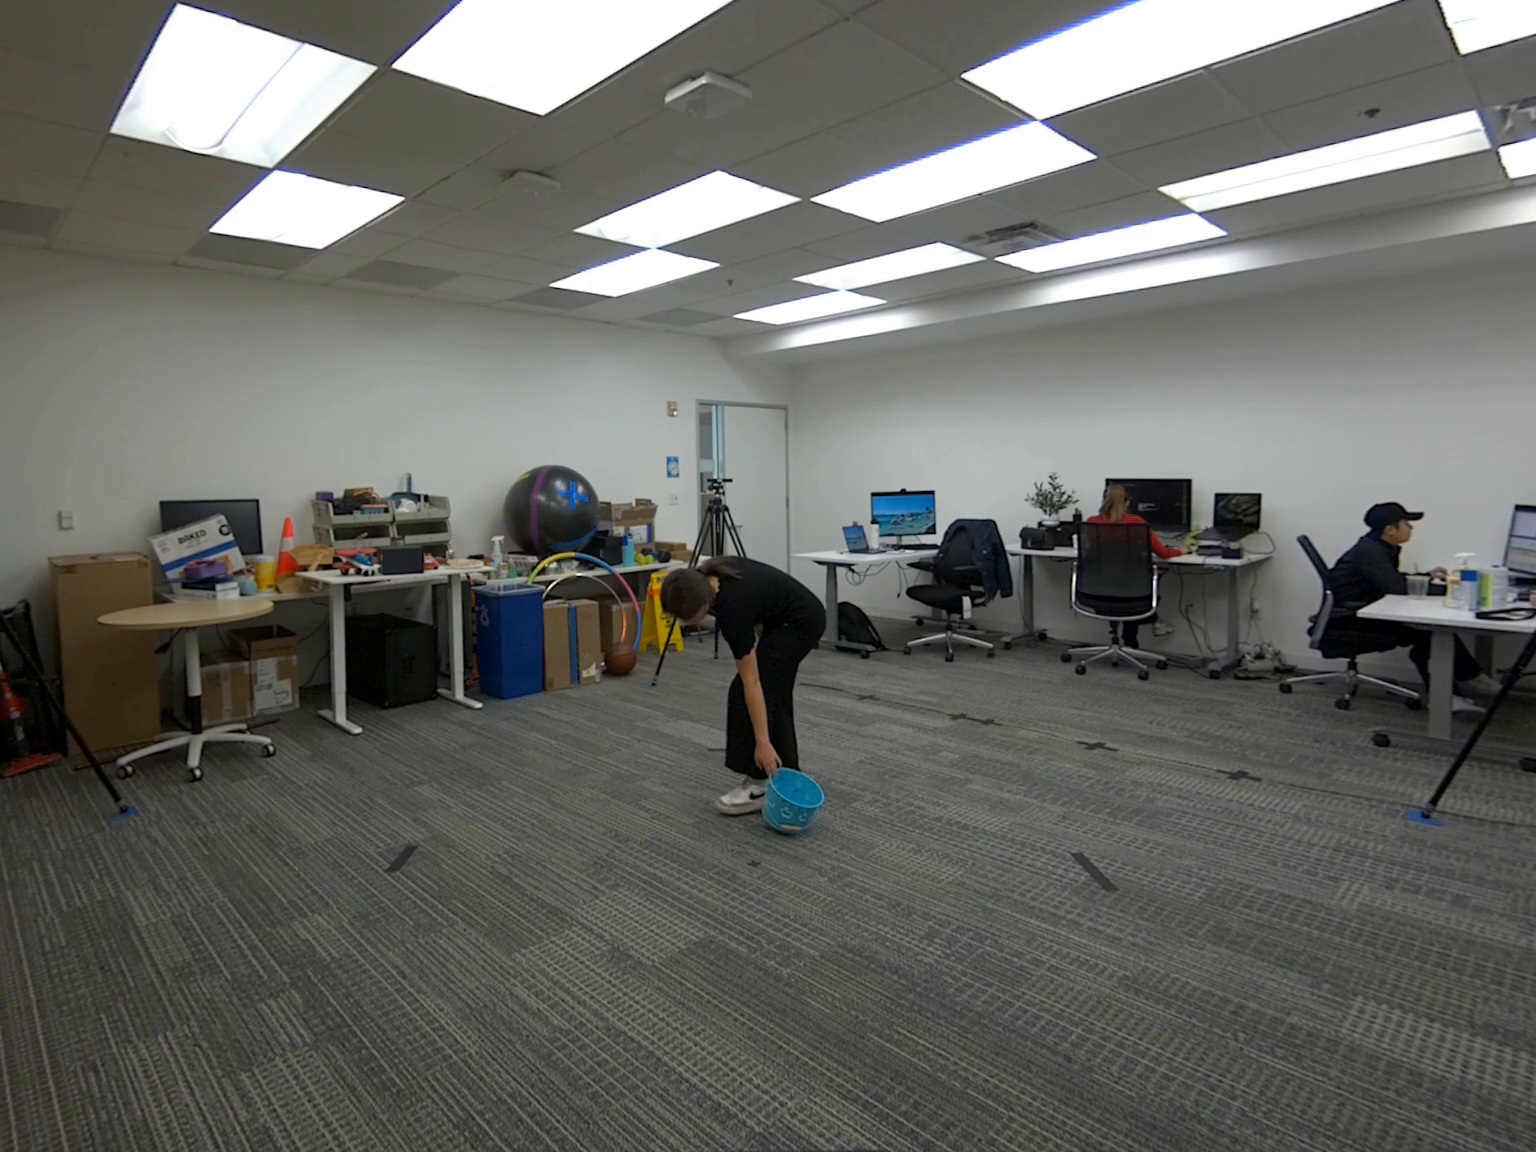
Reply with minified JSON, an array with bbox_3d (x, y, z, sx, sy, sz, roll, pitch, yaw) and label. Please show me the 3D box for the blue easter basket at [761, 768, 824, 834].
[{"bbox_3d":[0.085,0.909,3.402,0.242,0.154,0.248,17,18,-7],"label":"blue easter basket"}]
